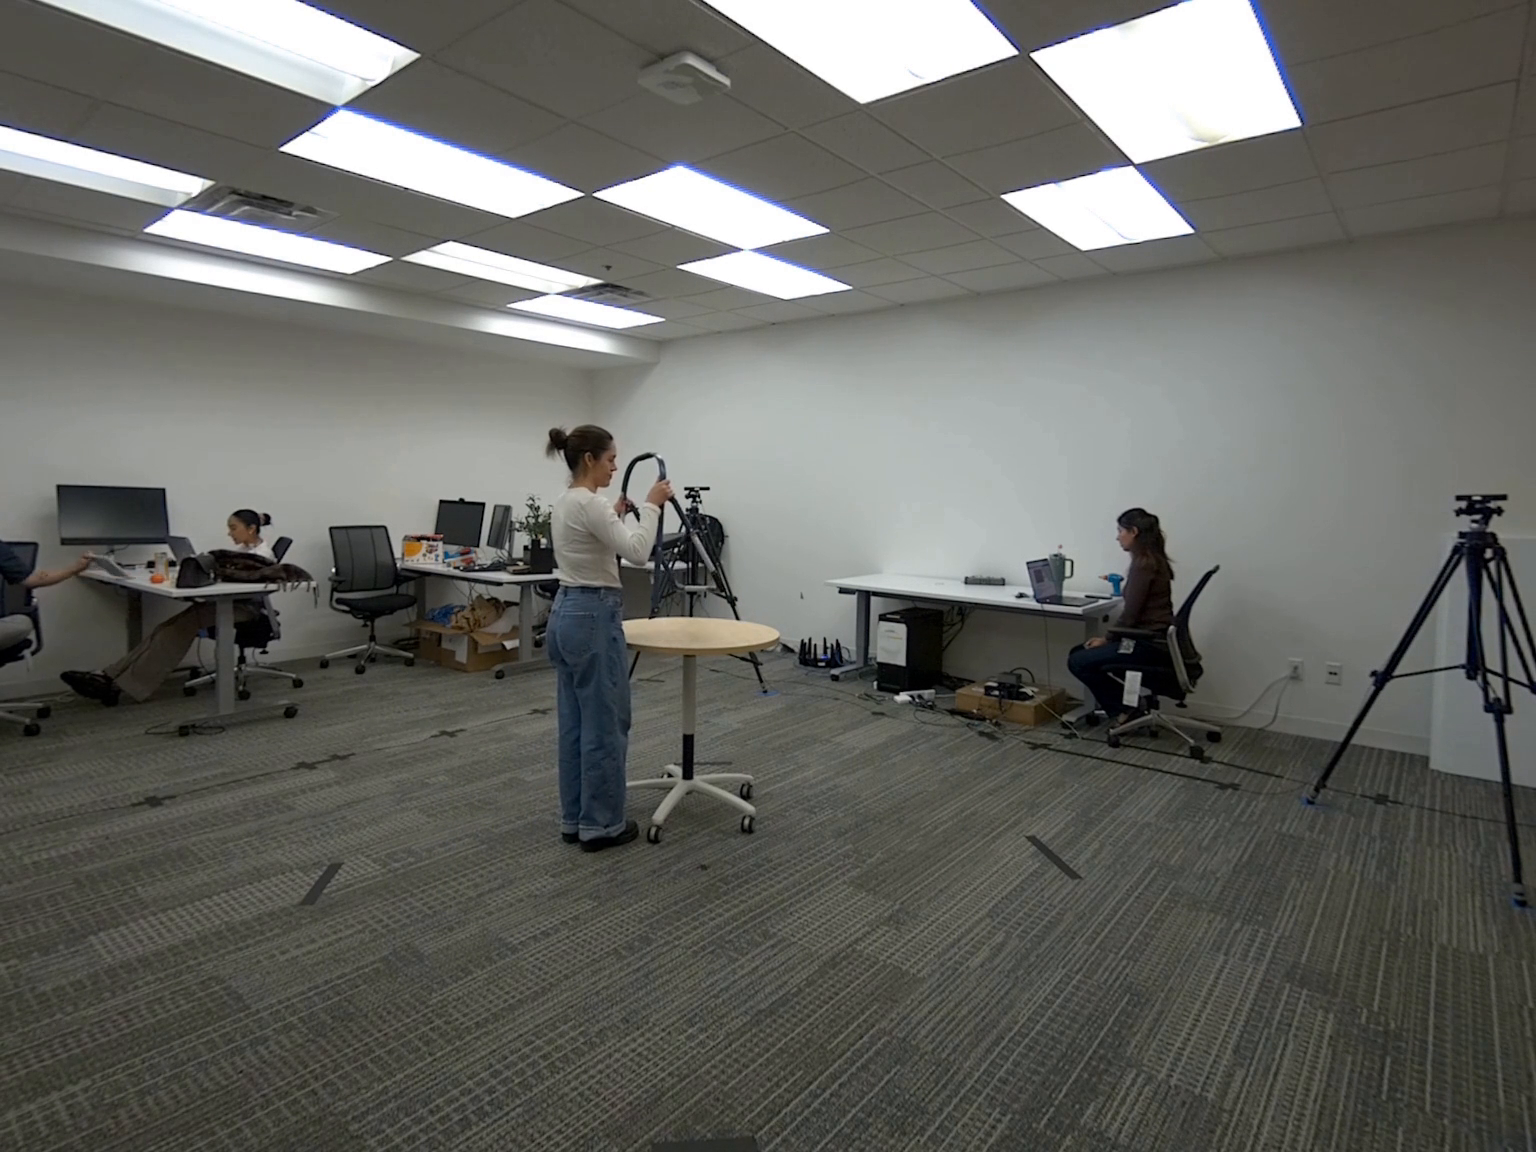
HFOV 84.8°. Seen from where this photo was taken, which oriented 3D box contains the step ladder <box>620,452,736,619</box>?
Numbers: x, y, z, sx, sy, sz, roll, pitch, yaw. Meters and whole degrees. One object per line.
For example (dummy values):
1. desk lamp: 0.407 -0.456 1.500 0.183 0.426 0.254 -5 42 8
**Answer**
1. step ladder: -0.489 -0.180 3.422 0.342 0.602 0.442 -17 7 -31
